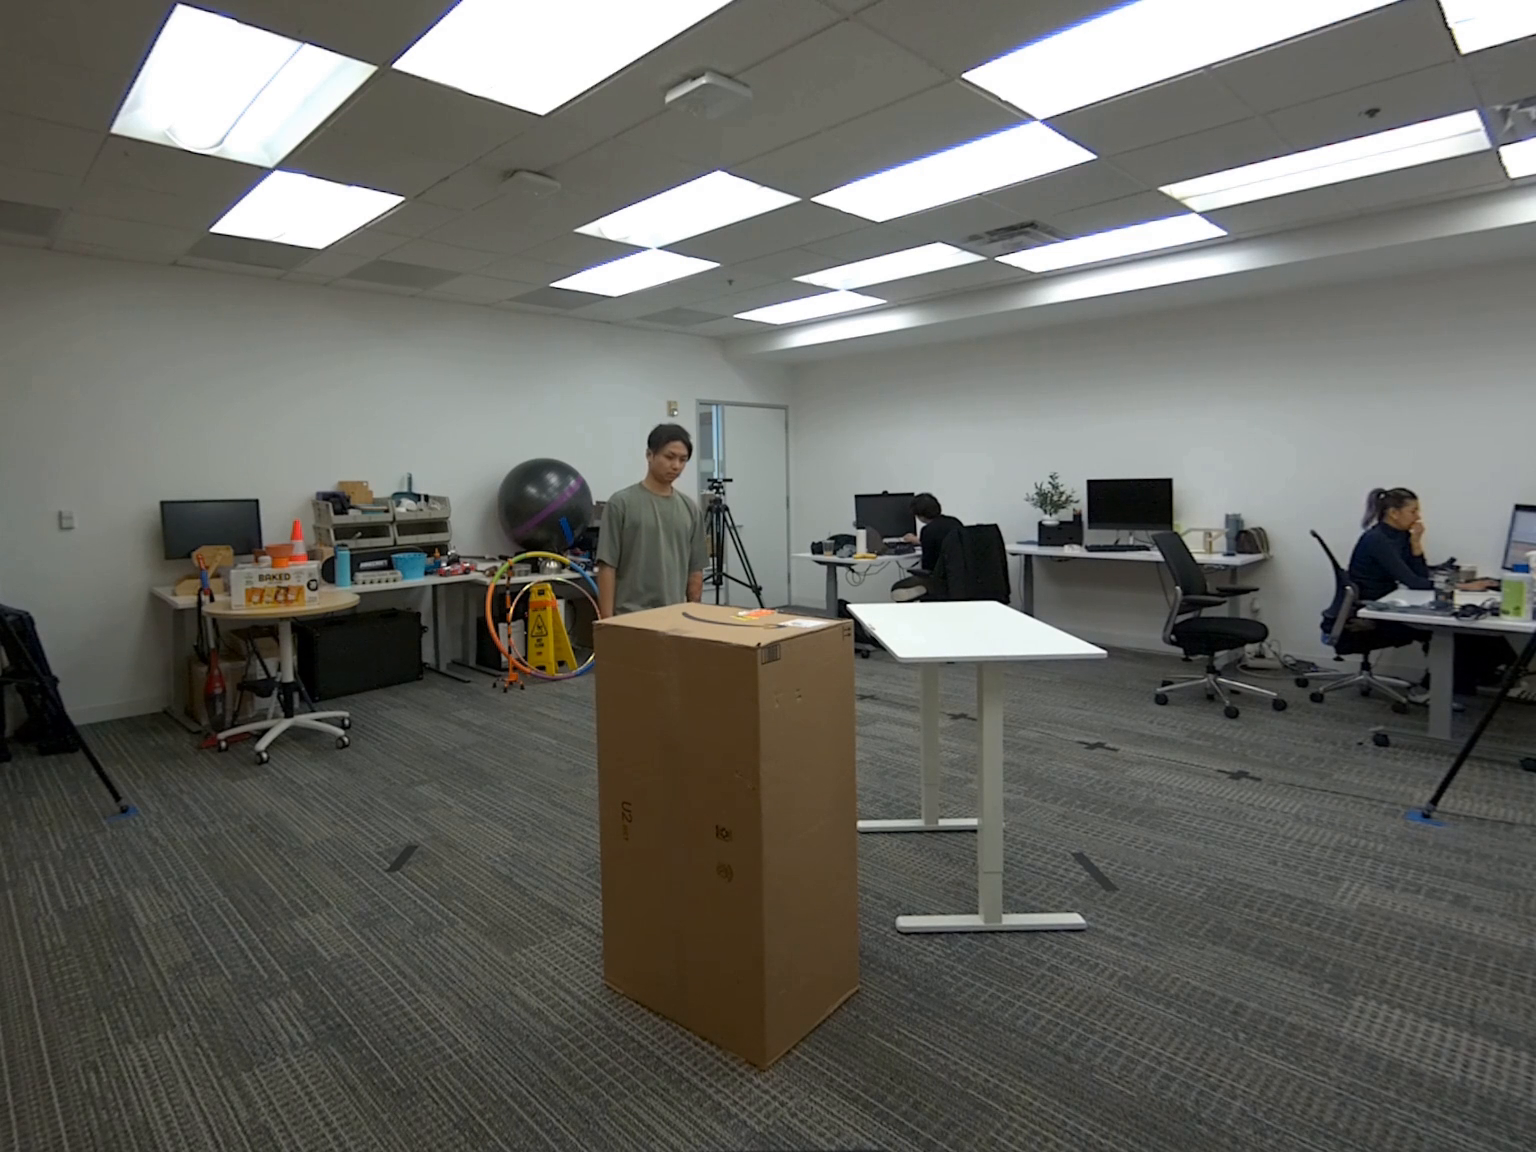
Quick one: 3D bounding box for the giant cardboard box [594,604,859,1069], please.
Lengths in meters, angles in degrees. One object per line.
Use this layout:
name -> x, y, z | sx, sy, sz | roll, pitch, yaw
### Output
giant cardboard box -> -0.109, 0.628, 2.328 | 0.595, 1.022, 0.415 | 2, 5, 39
